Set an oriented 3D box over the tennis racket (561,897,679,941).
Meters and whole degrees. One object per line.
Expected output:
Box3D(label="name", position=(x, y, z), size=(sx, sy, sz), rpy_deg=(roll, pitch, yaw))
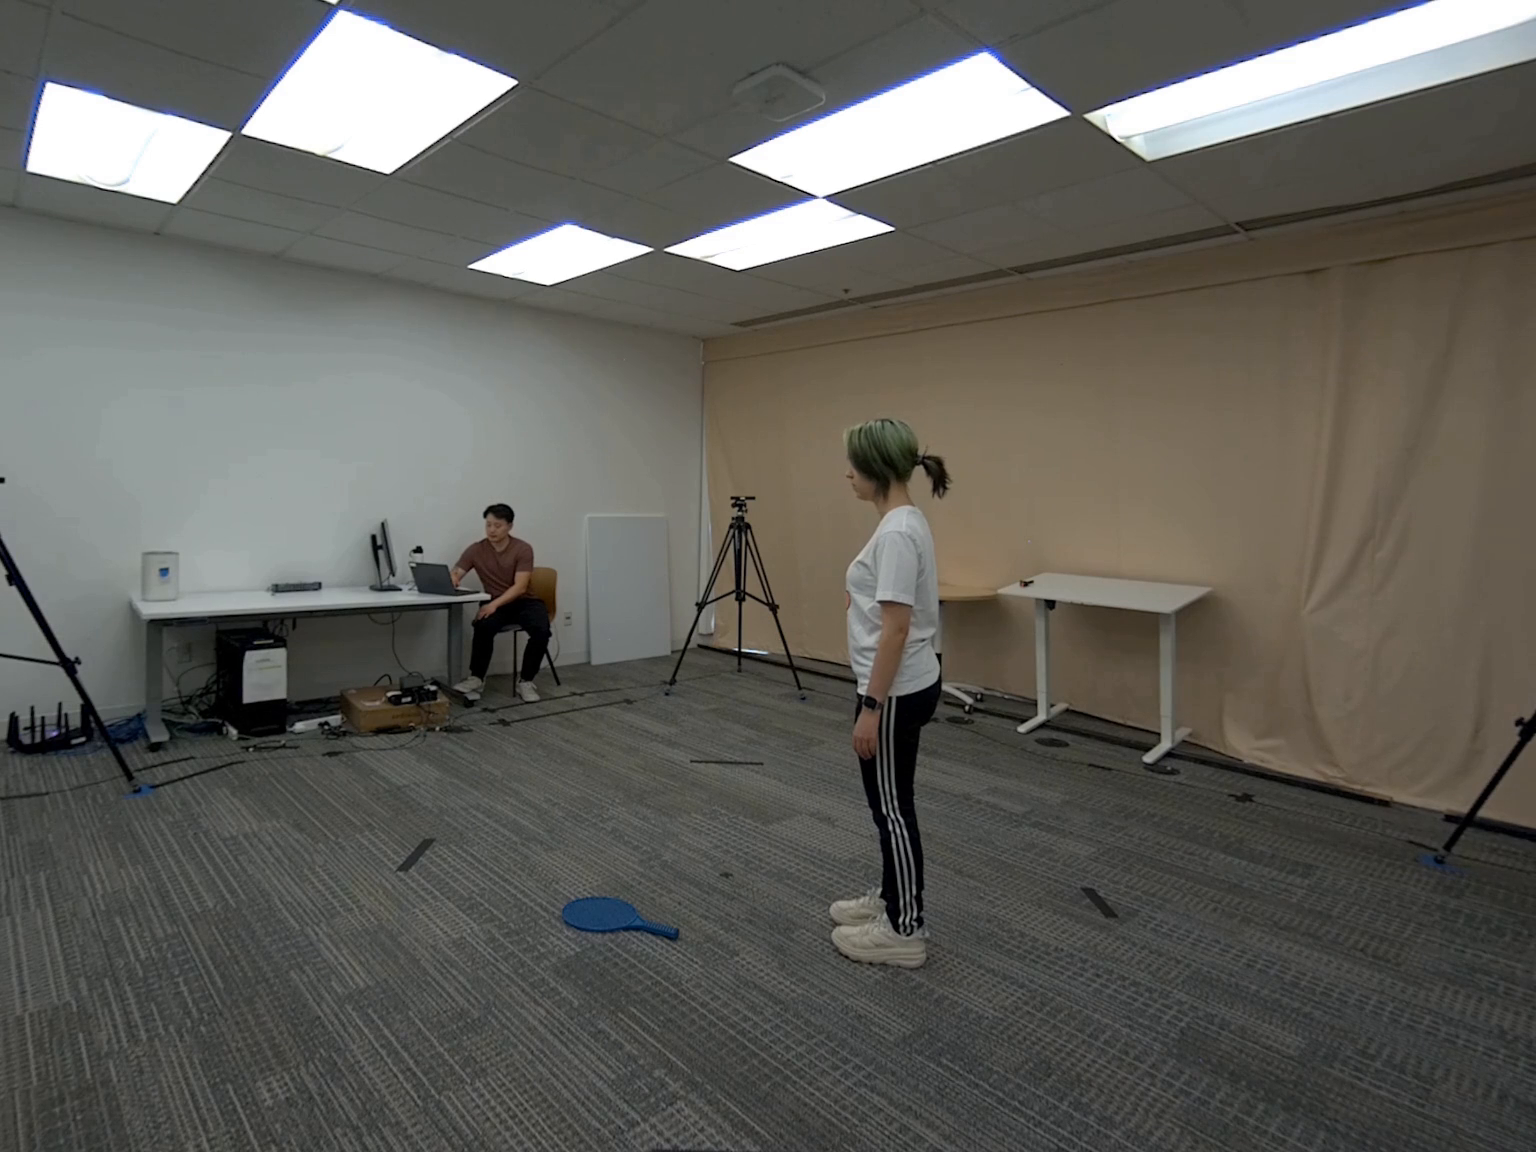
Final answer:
Box3D(label="tennis racket", position=(-0.485, 1.114, 2.744), size=(0.442, 0.031, 0.210), rpy_deg=(2, 6, 29))
